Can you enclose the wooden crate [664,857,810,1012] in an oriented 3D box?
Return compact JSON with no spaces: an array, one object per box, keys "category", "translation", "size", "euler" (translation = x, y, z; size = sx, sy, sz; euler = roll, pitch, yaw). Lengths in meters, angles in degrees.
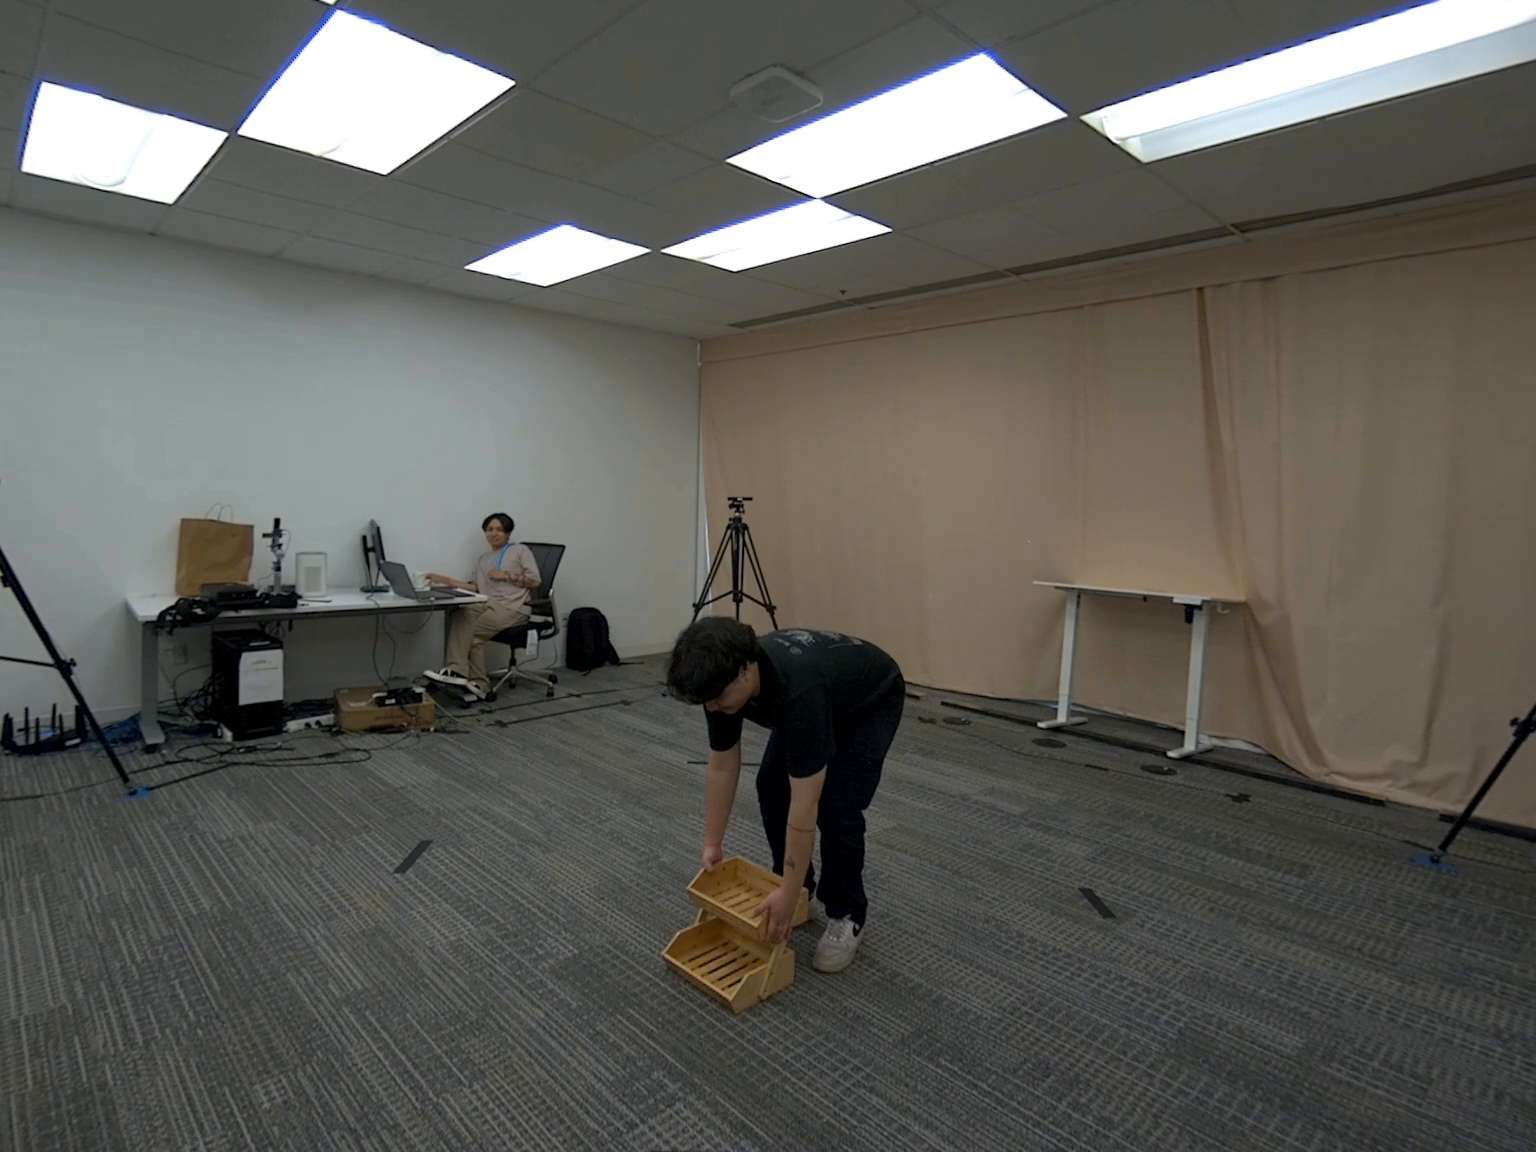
[{"category":"wooden crate","translation":[-0.110,1.029,2.458],"size":[0.333,0.272,0.295],"euler":[6,6,44]}]
